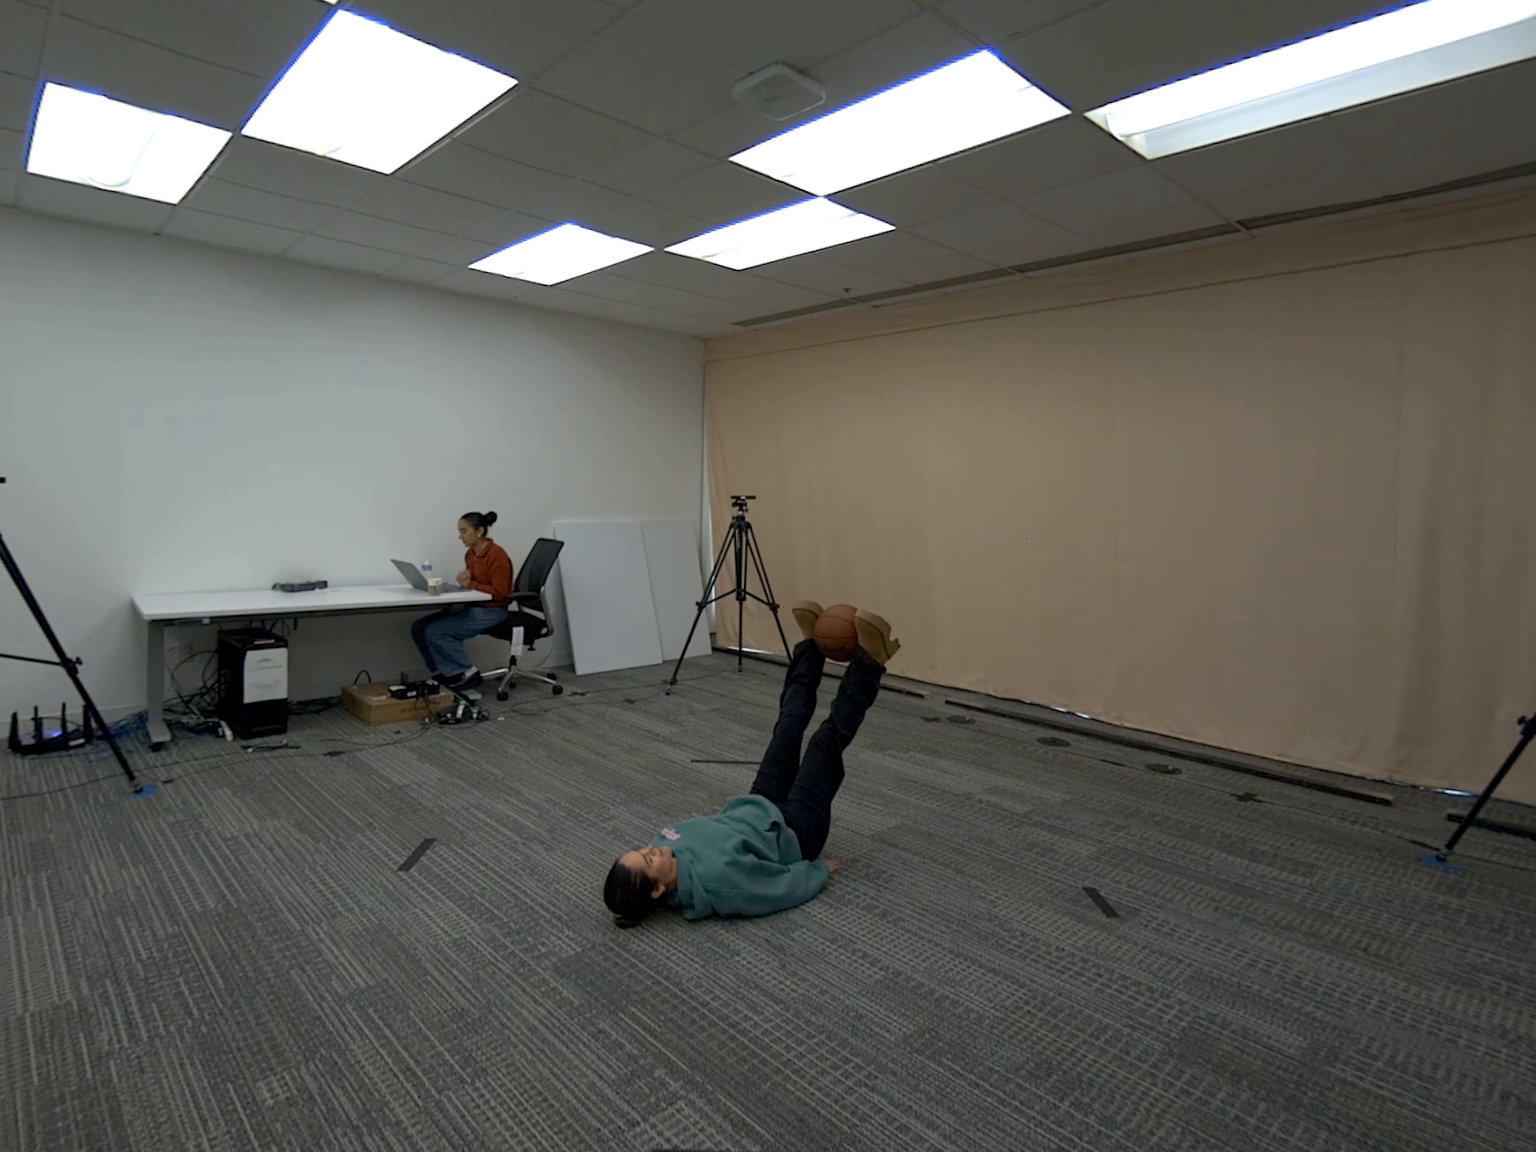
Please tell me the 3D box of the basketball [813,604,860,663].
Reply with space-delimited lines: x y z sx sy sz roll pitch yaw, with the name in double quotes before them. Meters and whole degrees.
"basketball" 0.299 0.235 3.441 0.236 0.235 0.237 1 5 -1
